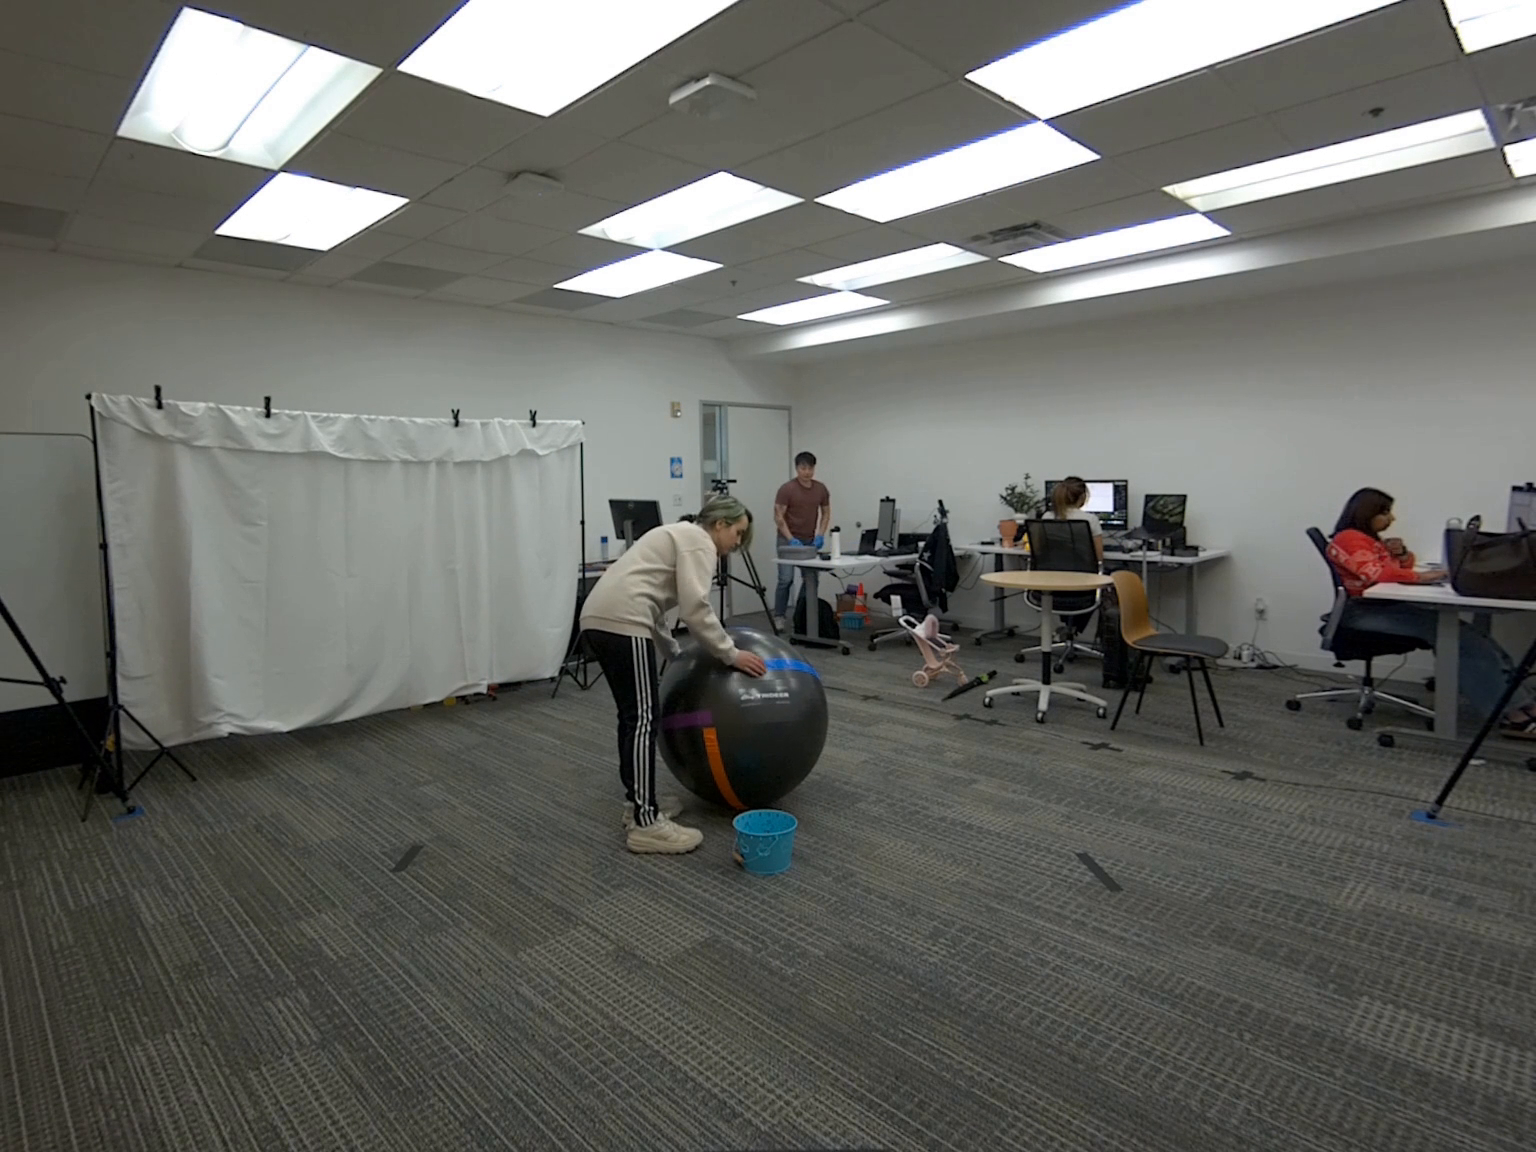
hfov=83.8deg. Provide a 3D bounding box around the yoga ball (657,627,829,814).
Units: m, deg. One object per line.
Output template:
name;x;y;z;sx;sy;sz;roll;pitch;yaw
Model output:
yoga ball;-0.125;0.613;3.700;0.757;0.755;0.762;-1;5;-2
